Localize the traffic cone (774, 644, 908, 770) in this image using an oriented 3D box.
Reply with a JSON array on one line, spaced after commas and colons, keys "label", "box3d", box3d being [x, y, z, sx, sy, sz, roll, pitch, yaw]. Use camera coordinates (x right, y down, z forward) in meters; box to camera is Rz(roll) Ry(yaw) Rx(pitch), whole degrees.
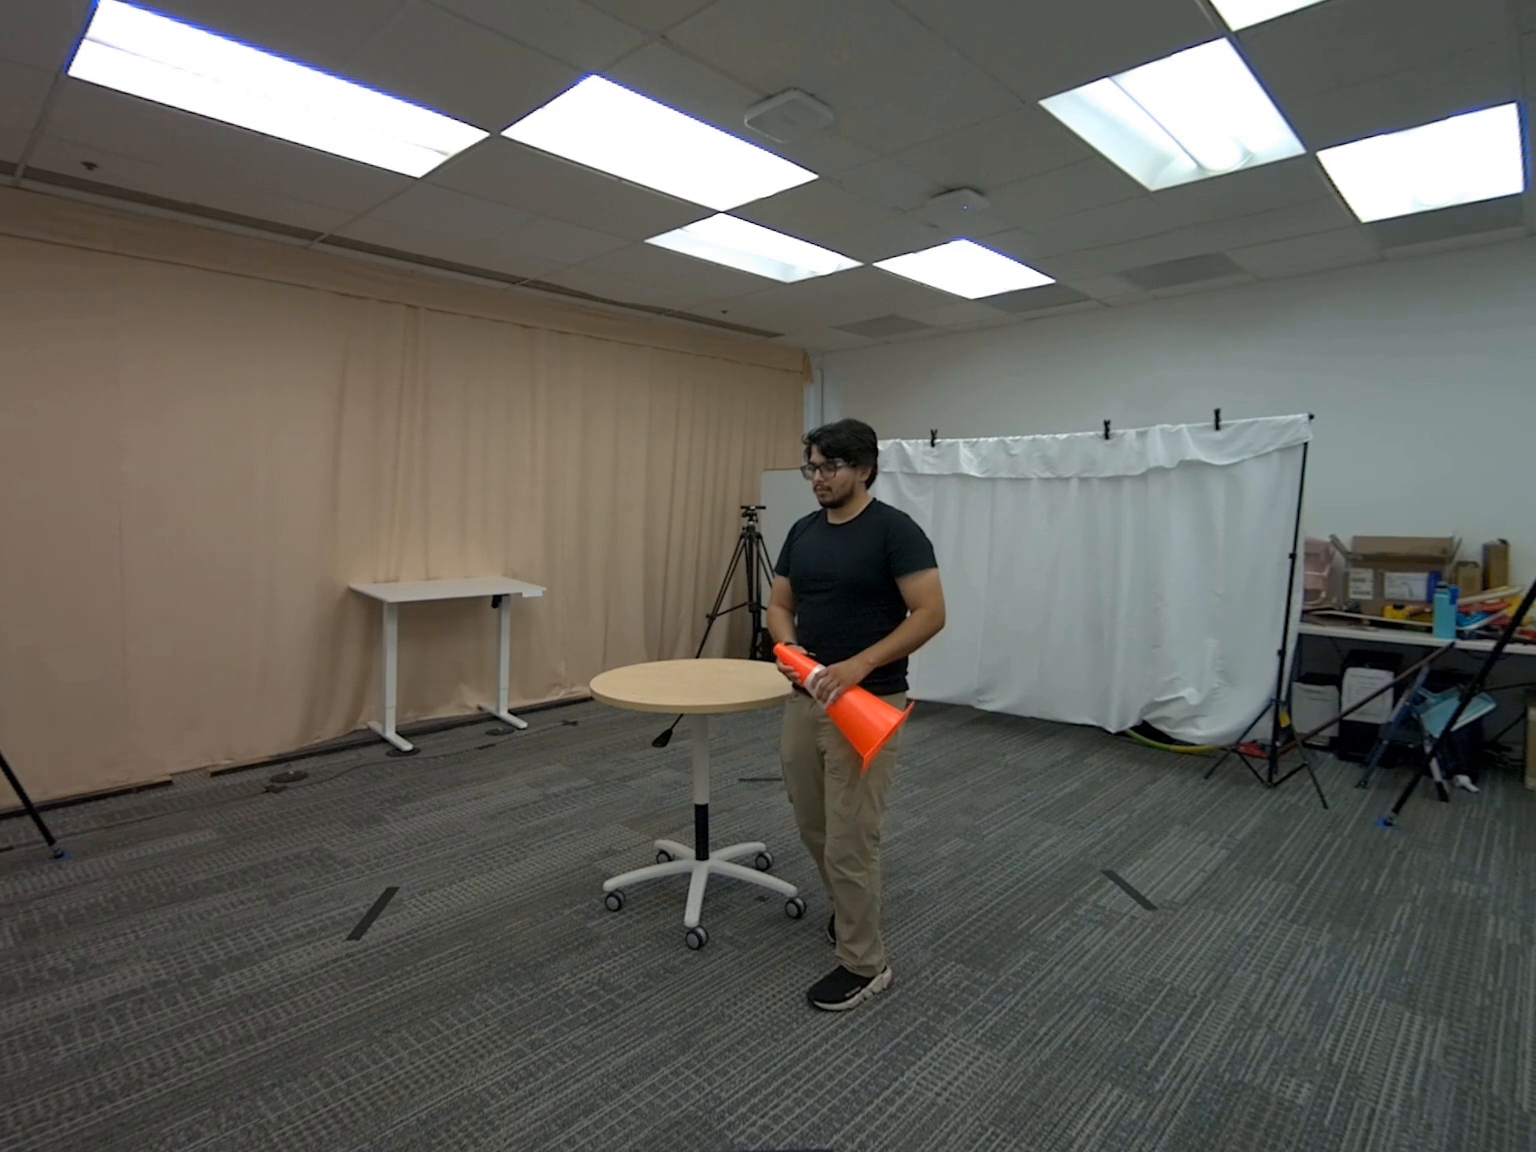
[{"label": "traffic cone", "box3d": [0.169, 0.314, 2.260, 0.393, 0.204, 0.199, 37, -14, 20]}]
